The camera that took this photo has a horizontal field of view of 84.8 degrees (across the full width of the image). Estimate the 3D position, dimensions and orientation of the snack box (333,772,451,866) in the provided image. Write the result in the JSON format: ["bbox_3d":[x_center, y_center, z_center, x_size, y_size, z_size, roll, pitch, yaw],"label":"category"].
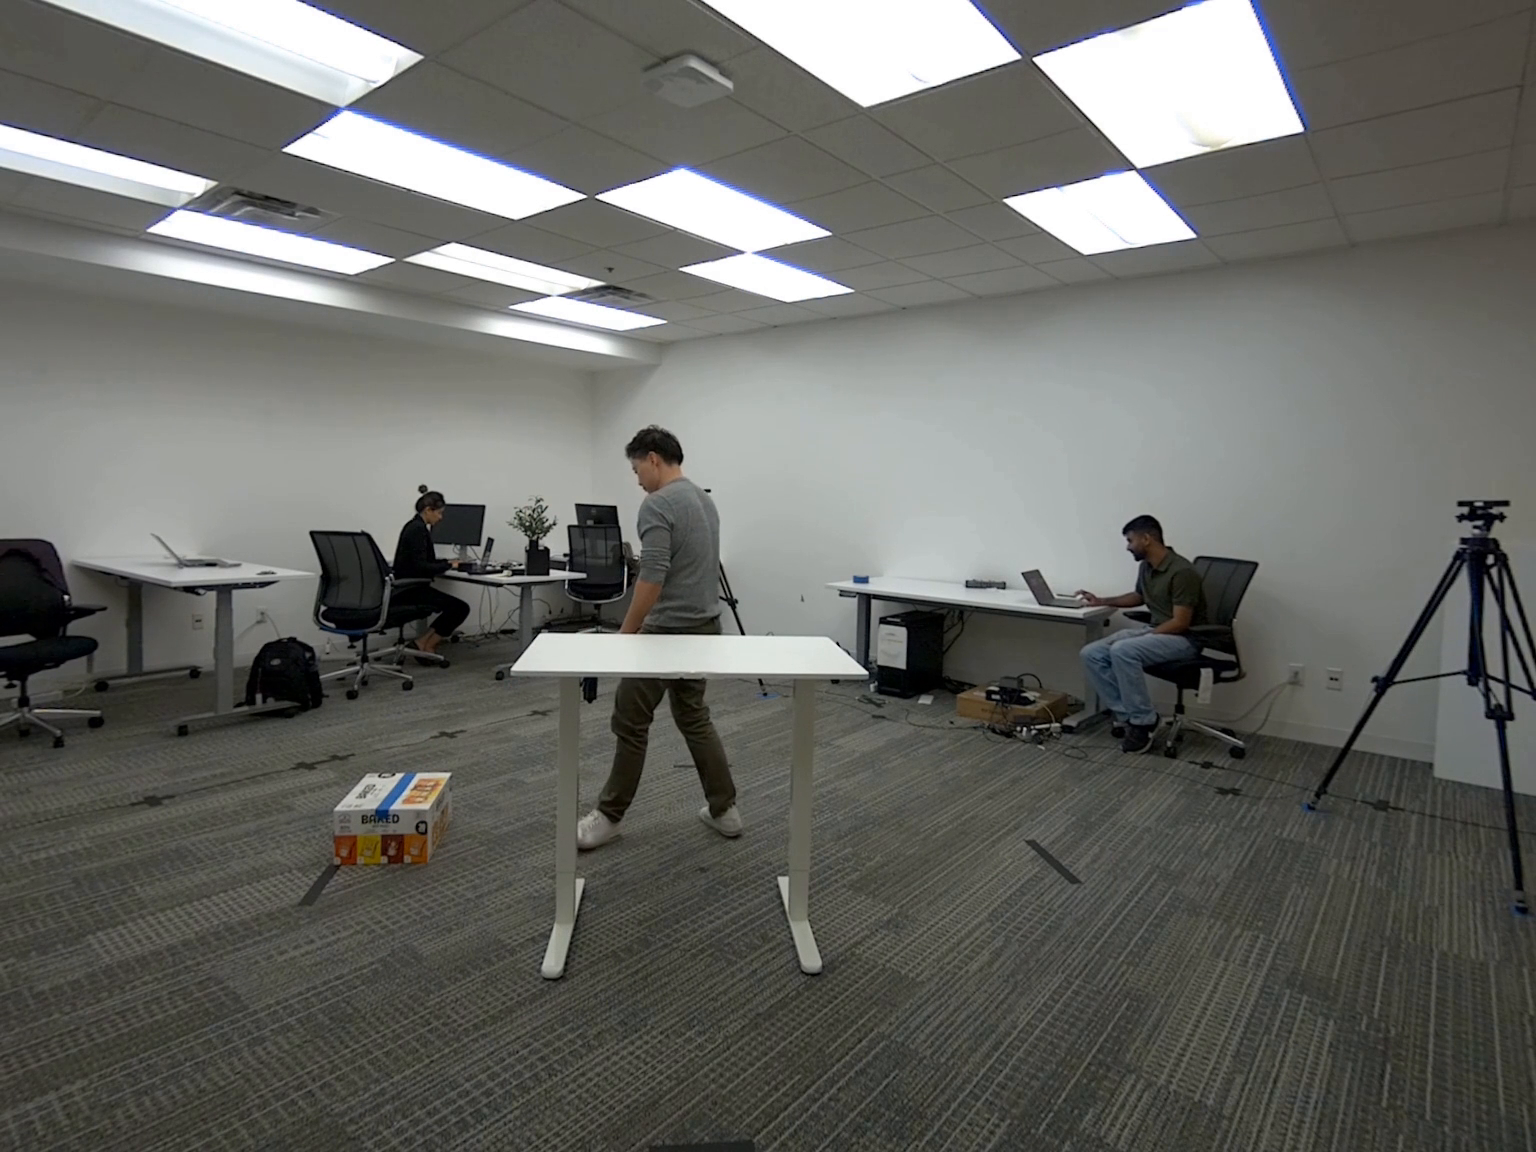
[{"bbox_3d":[-1.463,0.933,3.311,0.338,0.205,0.410,1,6,-8],"label":"snack box"}]
